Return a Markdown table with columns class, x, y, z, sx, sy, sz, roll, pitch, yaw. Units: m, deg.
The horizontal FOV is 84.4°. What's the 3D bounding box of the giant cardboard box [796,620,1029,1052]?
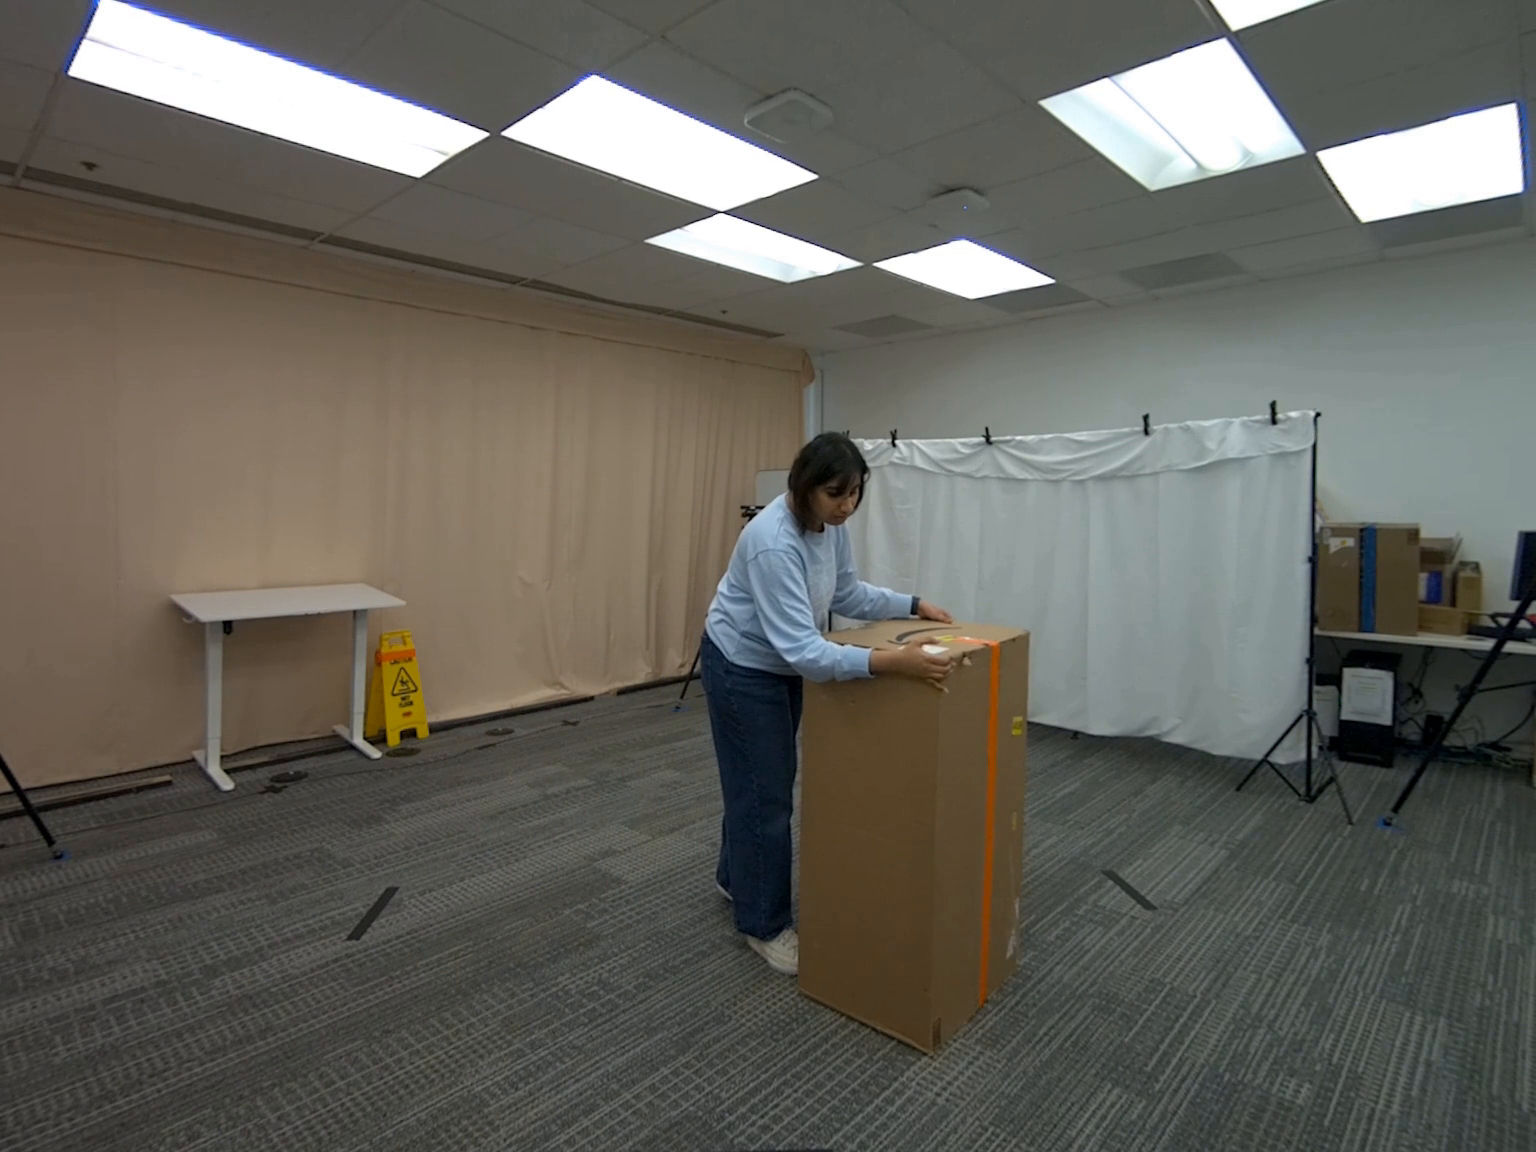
| class | x | y | z | sx | sy | sz | roll | pitch | yaw |
| --- | --- | --- | --- | --- | --- | --- | --- | --- | --- |
| giant cardboard box | 0.442 | 0.679 | 2.441 | 0.462 | 1.024 | 0.566 | 5 | 6 | 40 |
